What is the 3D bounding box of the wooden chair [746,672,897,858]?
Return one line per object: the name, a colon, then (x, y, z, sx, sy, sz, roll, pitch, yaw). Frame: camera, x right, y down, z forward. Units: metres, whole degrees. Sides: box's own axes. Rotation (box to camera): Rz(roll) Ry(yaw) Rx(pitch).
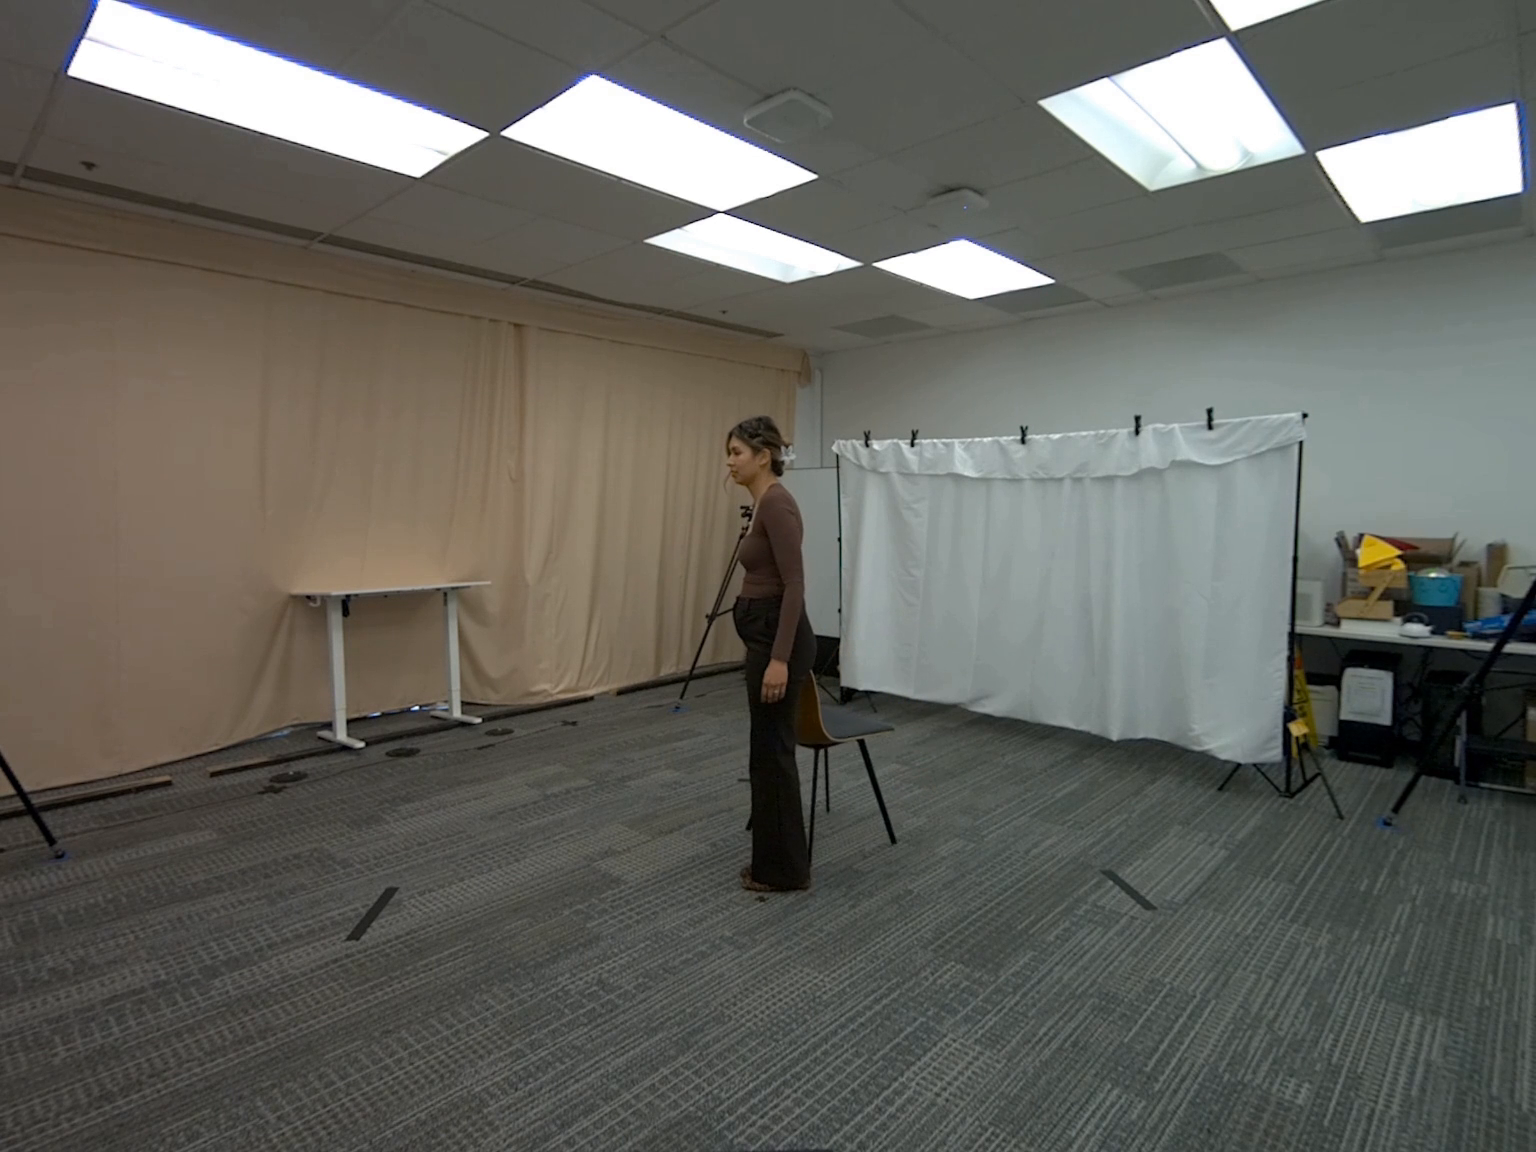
wooden chair: (0.222, 0.672, 3.513, 0.509, 0.874, 0.492, -7, 6, -32)
